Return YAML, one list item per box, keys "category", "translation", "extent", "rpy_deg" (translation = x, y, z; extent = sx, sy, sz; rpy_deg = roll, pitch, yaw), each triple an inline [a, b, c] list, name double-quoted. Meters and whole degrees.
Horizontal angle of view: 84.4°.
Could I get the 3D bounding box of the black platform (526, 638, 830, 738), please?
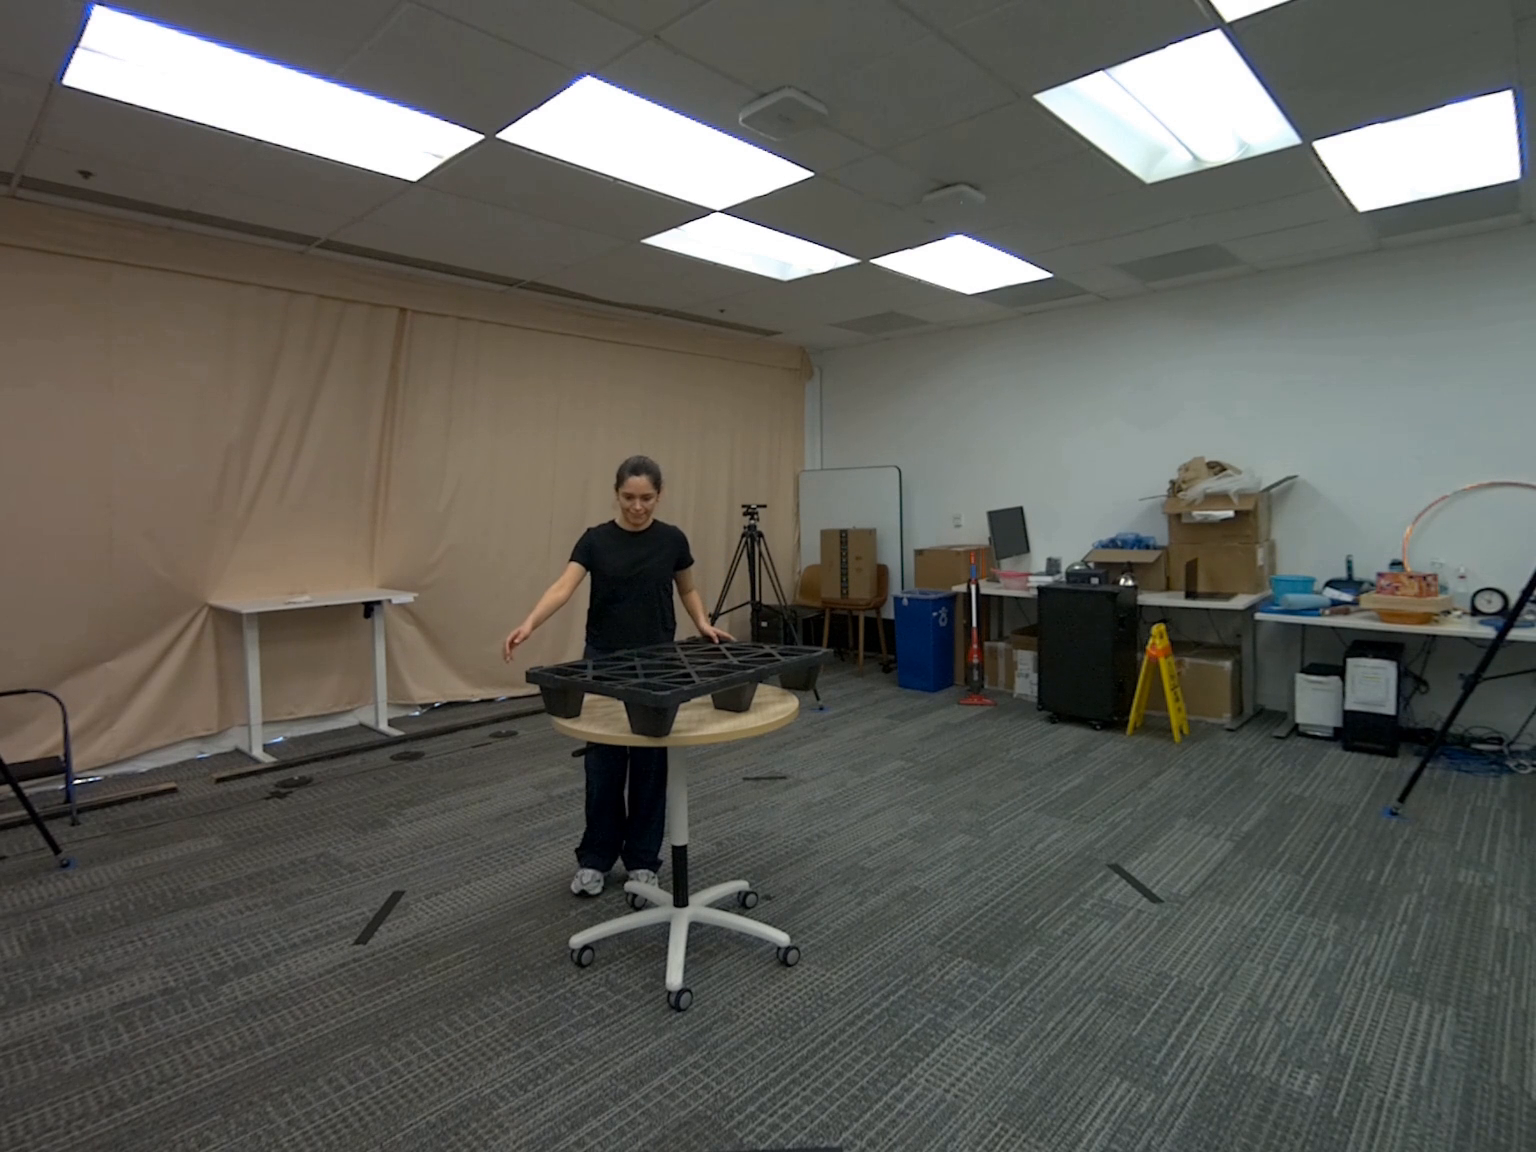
- category: "black platform"
  translation: [-0.248, 0.332, 2.638]
  extent: [0.625, 0.143, 0.782]
  rpy_deg: [2, 6, 40]
